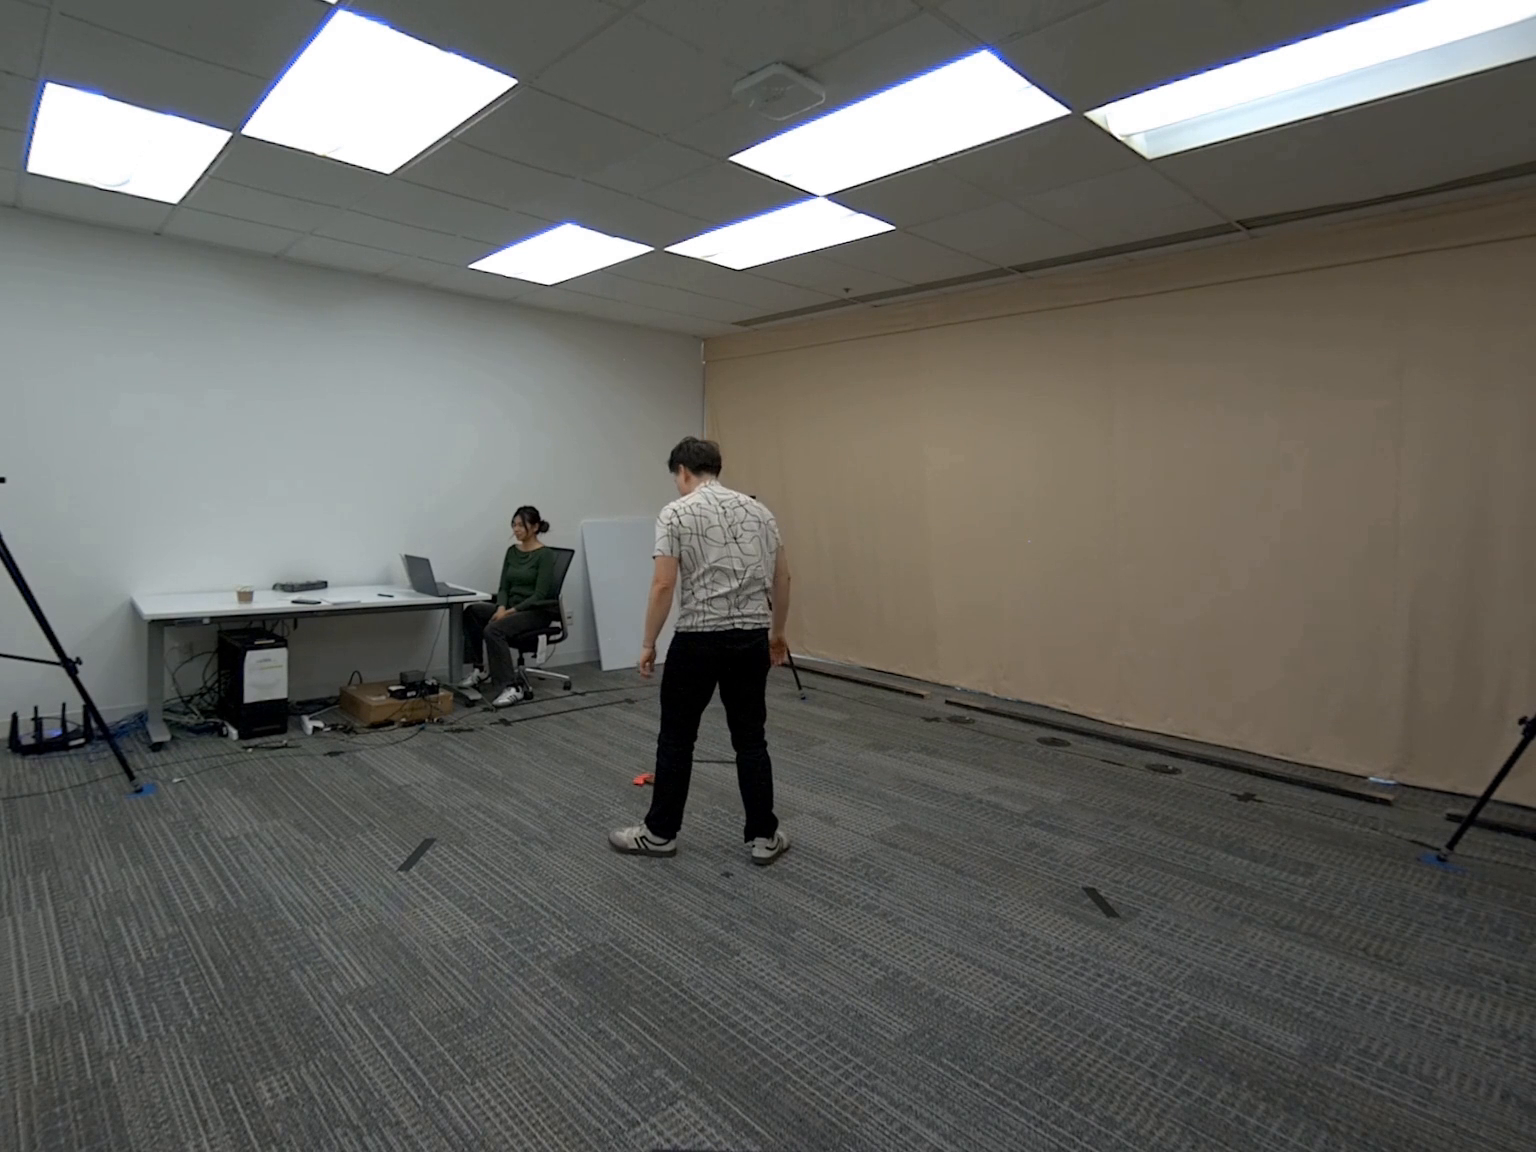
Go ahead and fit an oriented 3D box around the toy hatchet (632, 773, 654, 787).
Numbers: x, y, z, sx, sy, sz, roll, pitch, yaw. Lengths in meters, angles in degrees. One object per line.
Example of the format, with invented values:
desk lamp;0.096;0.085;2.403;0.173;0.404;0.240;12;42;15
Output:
toy hatchet;-0.566;0.999;4.015;0.128;0.029;0.276;0;7;-29
